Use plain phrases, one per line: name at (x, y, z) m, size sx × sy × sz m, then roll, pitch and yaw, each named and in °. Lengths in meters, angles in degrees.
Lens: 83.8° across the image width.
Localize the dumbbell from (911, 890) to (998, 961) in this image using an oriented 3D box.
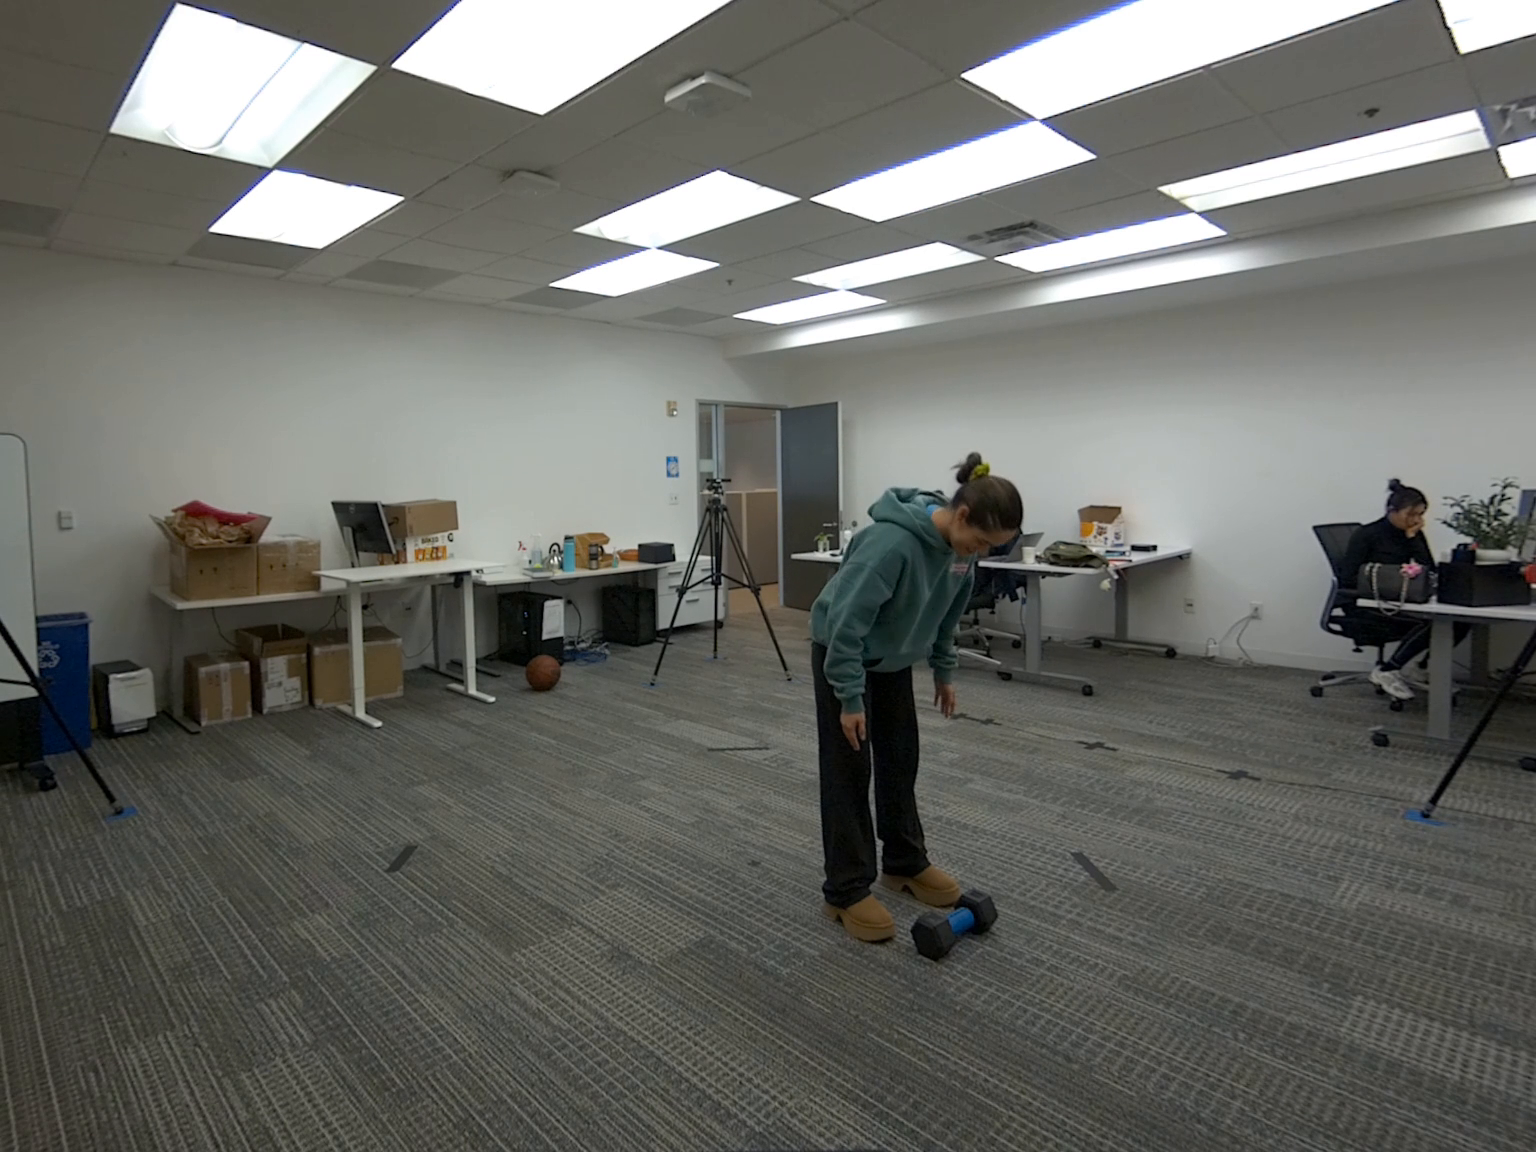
dumbbell at (0.565, 1.043, 2.563) m, size 0.286 × 0.121 × 0.113 m, roll -6°, pitch 38°, yaw -40°
